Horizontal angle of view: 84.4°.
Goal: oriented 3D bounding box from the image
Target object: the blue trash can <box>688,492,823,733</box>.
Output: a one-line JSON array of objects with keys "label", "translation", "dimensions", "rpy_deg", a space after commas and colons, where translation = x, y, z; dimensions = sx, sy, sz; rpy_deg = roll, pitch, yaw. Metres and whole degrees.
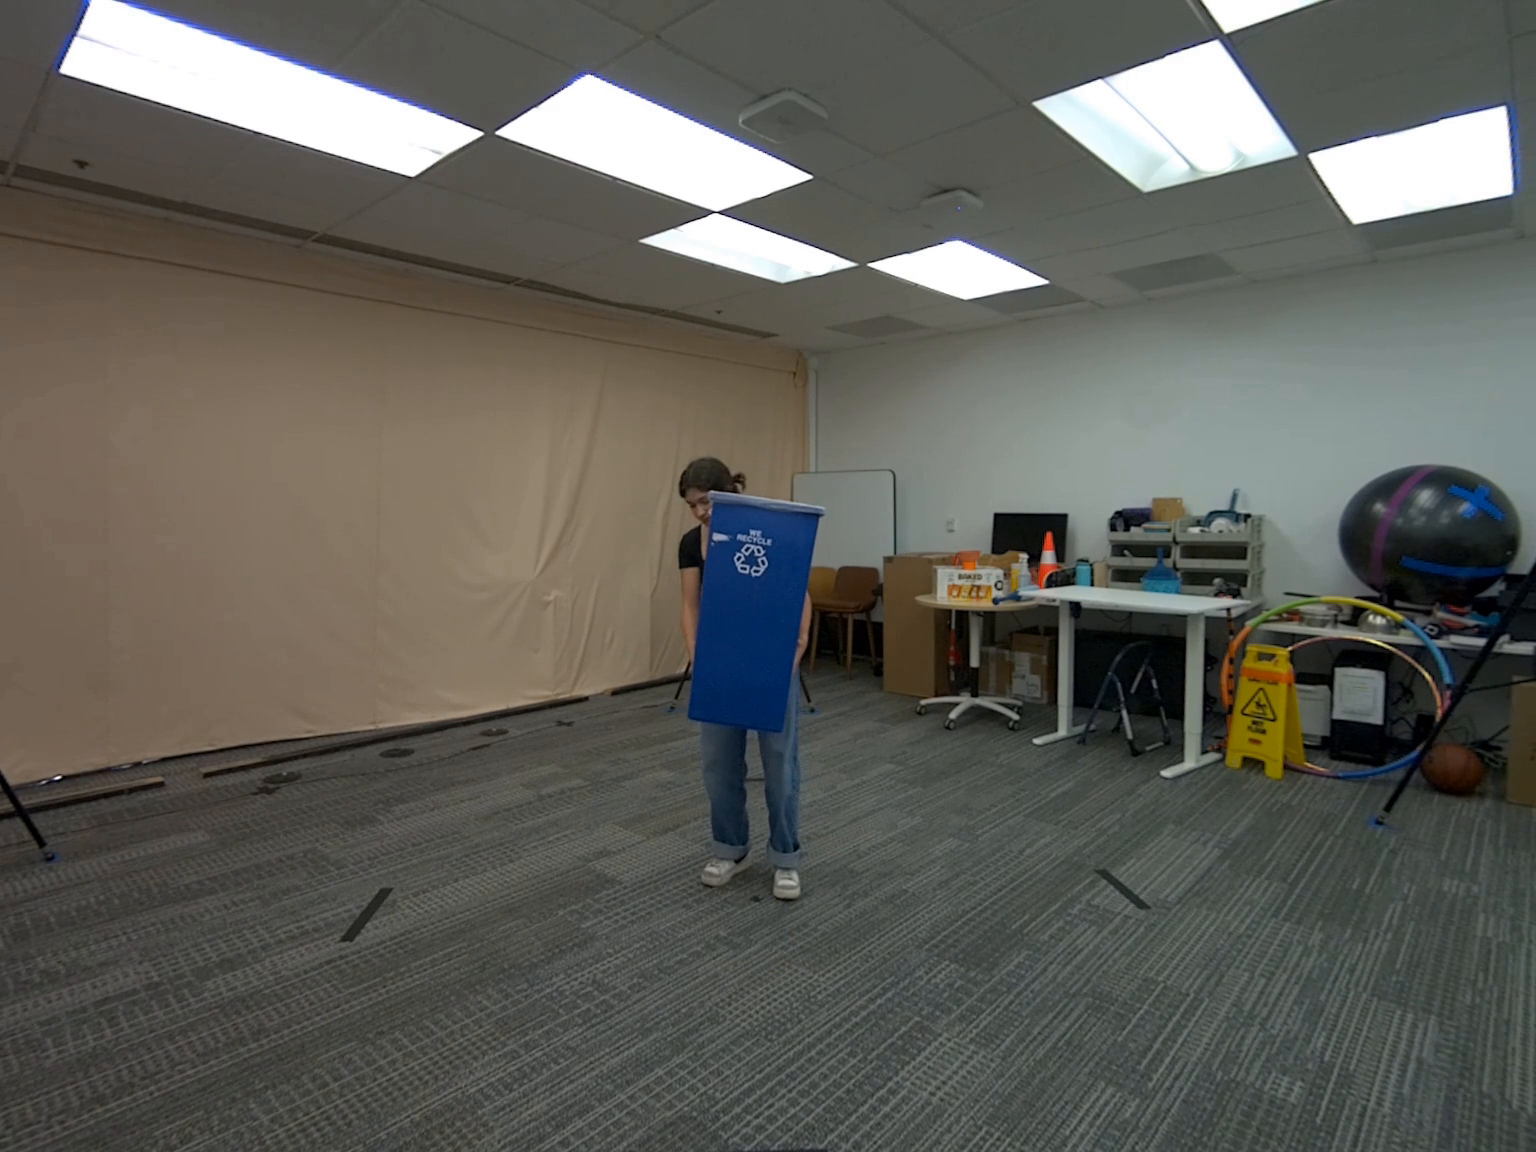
[{"label": "blue trash can", "translation": [-0.046, 0.110, 2.761], "dimensions": [0.374, 0.713, 0.378], "rpy_deg": [7, 2, -1]}]
